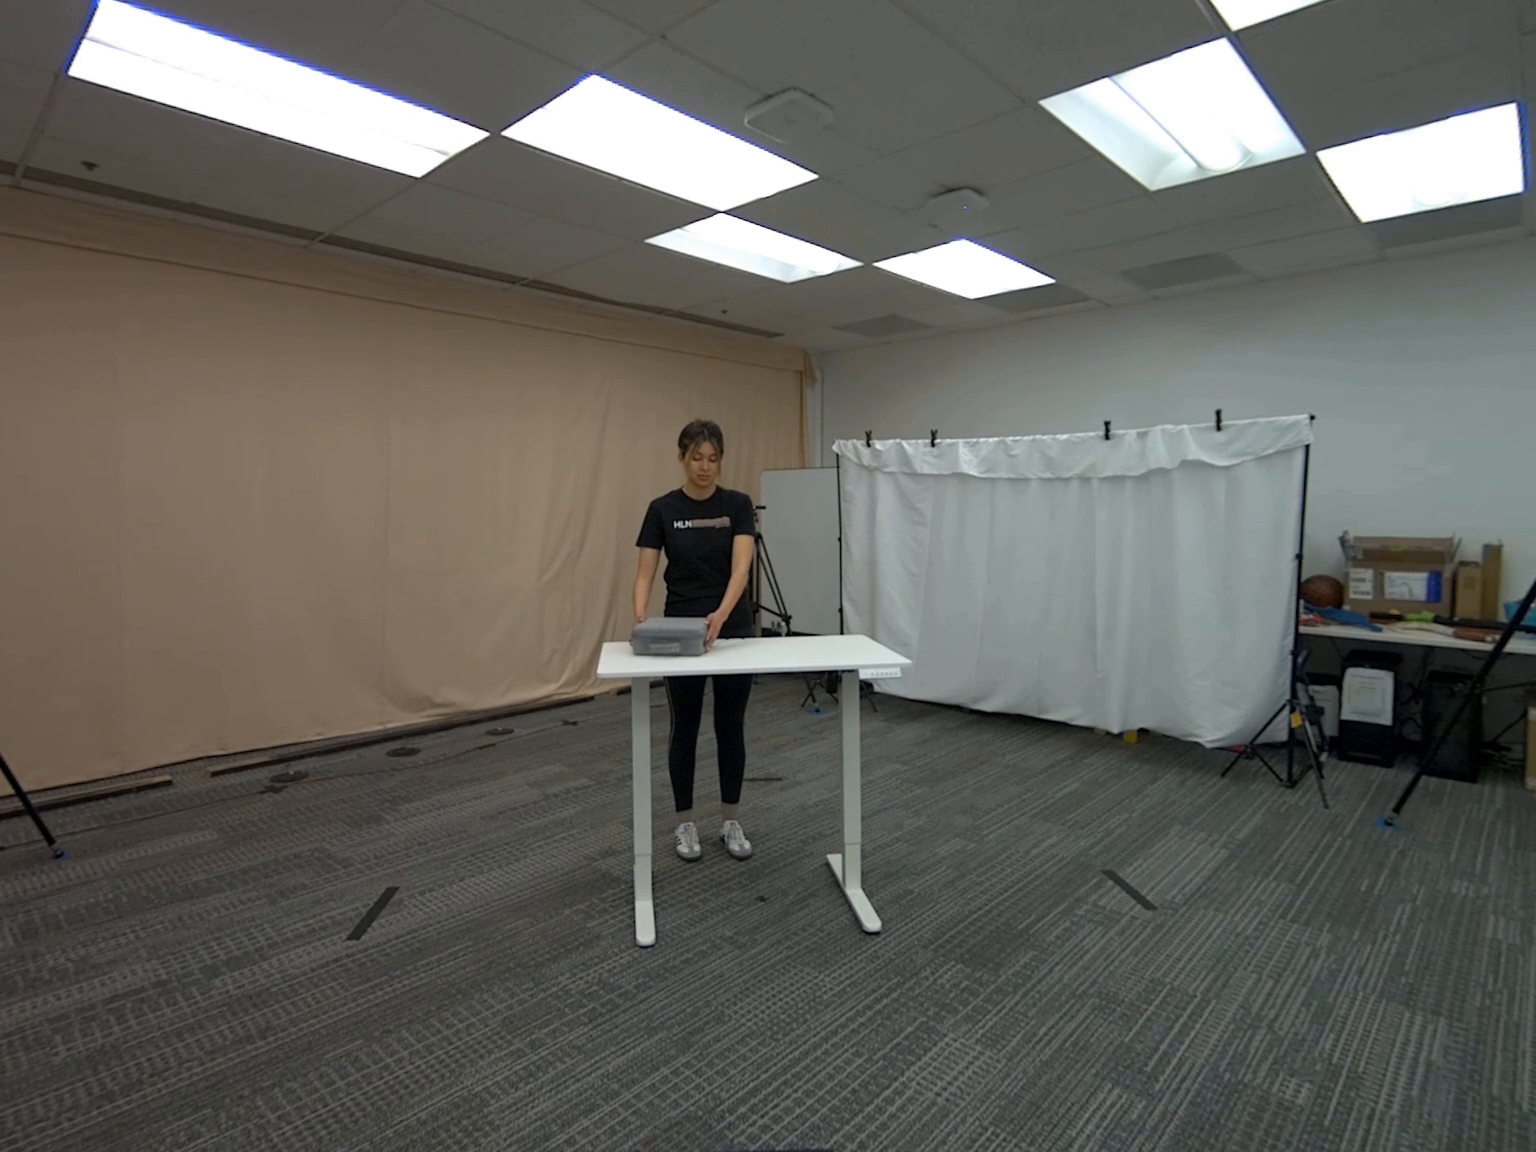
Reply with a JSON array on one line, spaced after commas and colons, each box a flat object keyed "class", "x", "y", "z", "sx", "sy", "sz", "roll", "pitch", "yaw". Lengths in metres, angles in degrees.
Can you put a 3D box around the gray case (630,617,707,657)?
[{"class": "gray case", "x": -0.331, "y": 0.214, "z": 2.983, "sx": 0.259, "sy": 0.104, "sz": 0.259, "roll": 0, "pitch": 6, "yaw": 8}]
